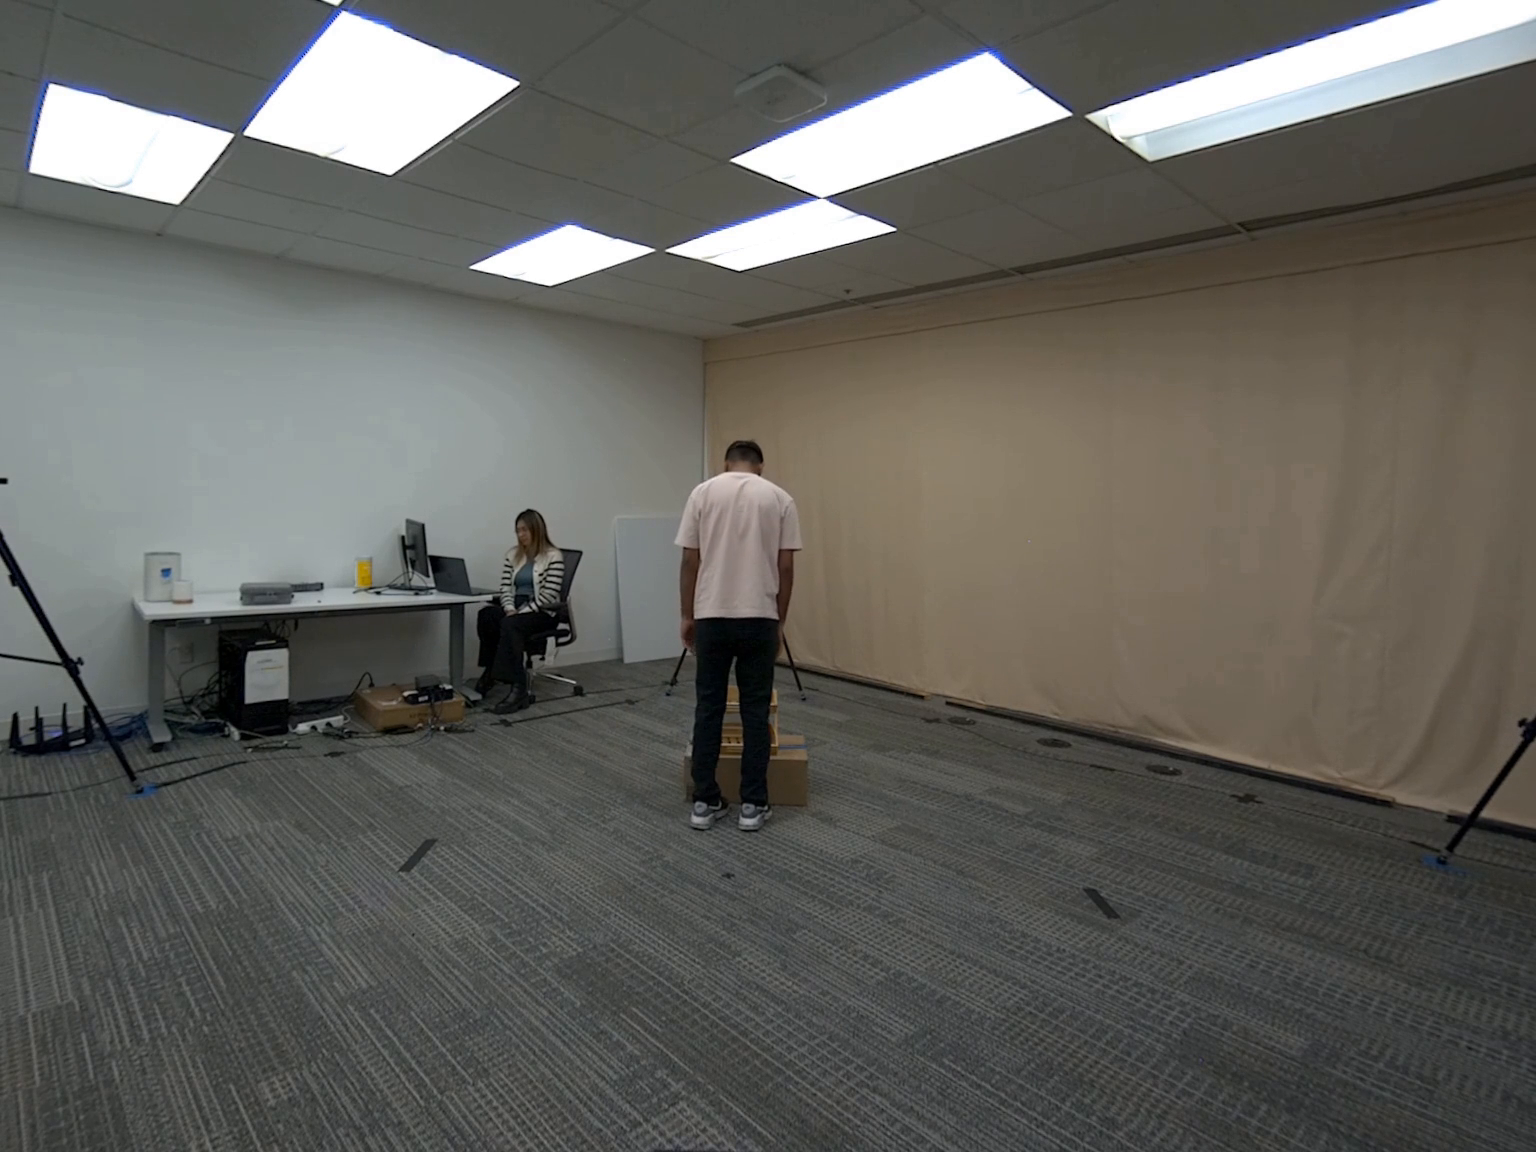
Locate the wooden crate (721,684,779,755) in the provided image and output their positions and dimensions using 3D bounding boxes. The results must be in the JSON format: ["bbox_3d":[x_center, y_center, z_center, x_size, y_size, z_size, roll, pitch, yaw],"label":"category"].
[{"bbox_3d":[-0.123,0.686,4.024,0.323,0.273,0.304,2,2,-5],"label":"wooden crate"}]
